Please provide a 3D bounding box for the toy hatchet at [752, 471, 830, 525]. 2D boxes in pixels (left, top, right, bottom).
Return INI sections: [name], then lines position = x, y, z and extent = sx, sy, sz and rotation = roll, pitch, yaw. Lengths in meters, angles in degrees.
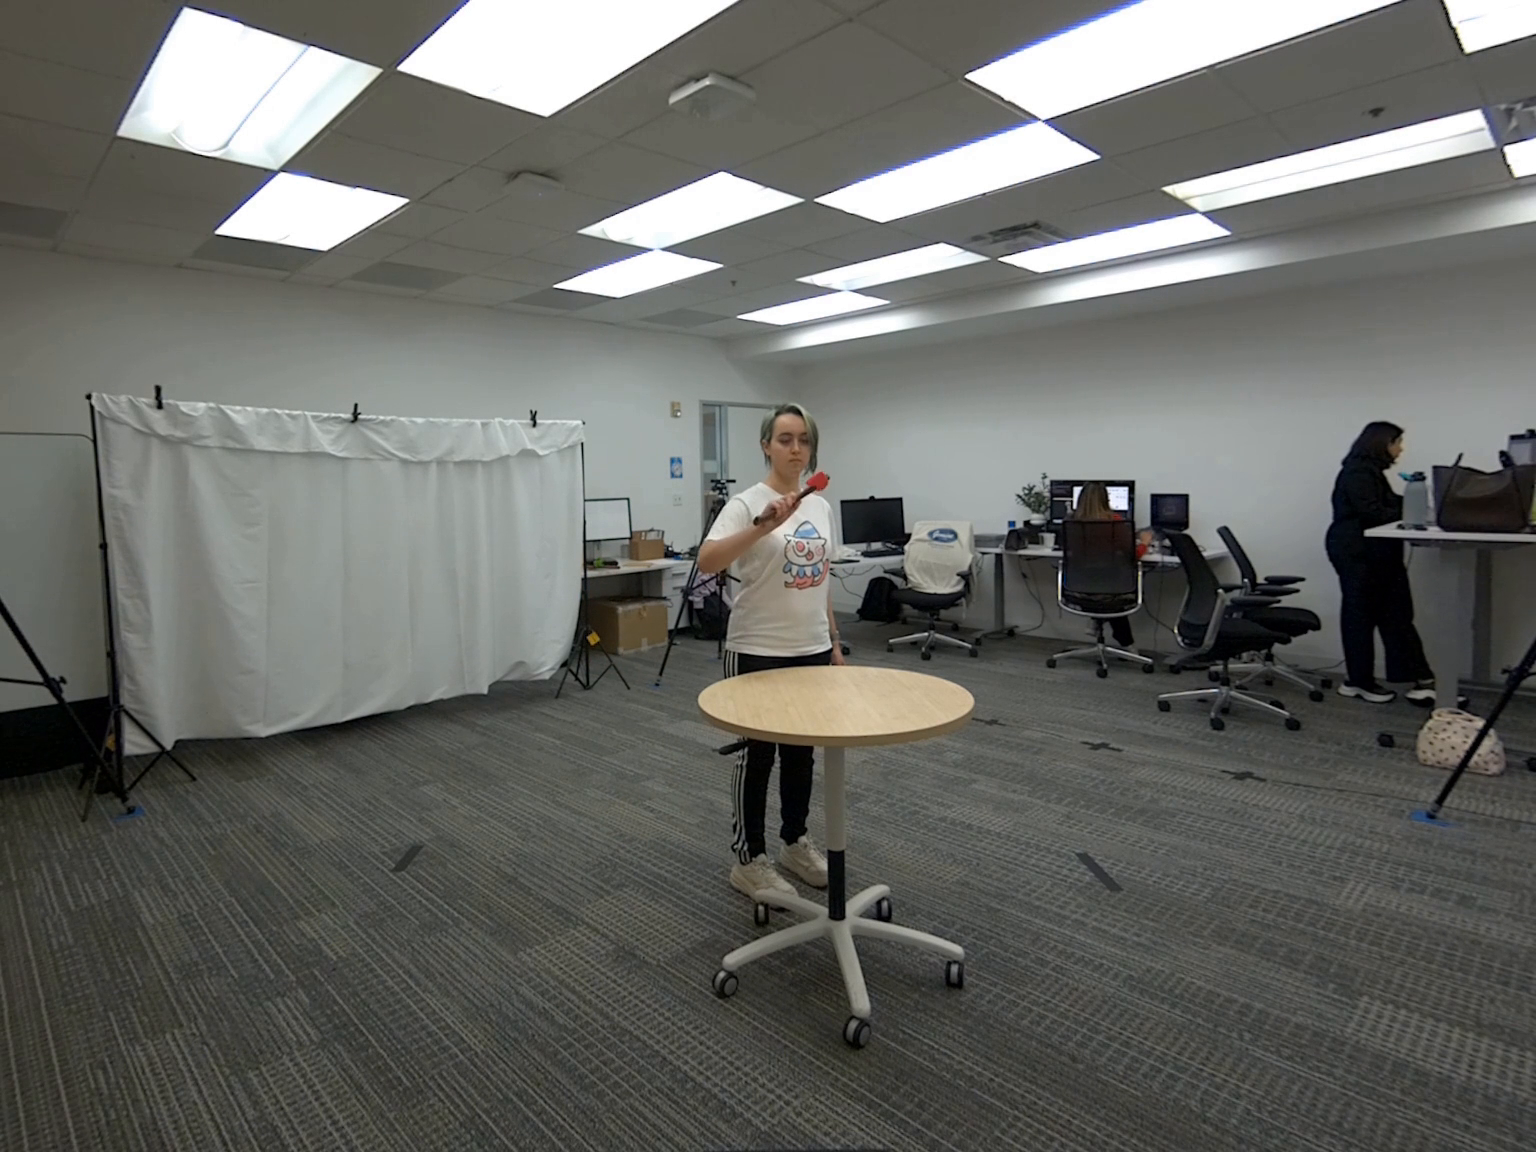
[toy hatchet]
position = 0.073, -0.236, 2.532
extent = 0.267, 0.030, 0.129
rotation = -29, -18, -23
